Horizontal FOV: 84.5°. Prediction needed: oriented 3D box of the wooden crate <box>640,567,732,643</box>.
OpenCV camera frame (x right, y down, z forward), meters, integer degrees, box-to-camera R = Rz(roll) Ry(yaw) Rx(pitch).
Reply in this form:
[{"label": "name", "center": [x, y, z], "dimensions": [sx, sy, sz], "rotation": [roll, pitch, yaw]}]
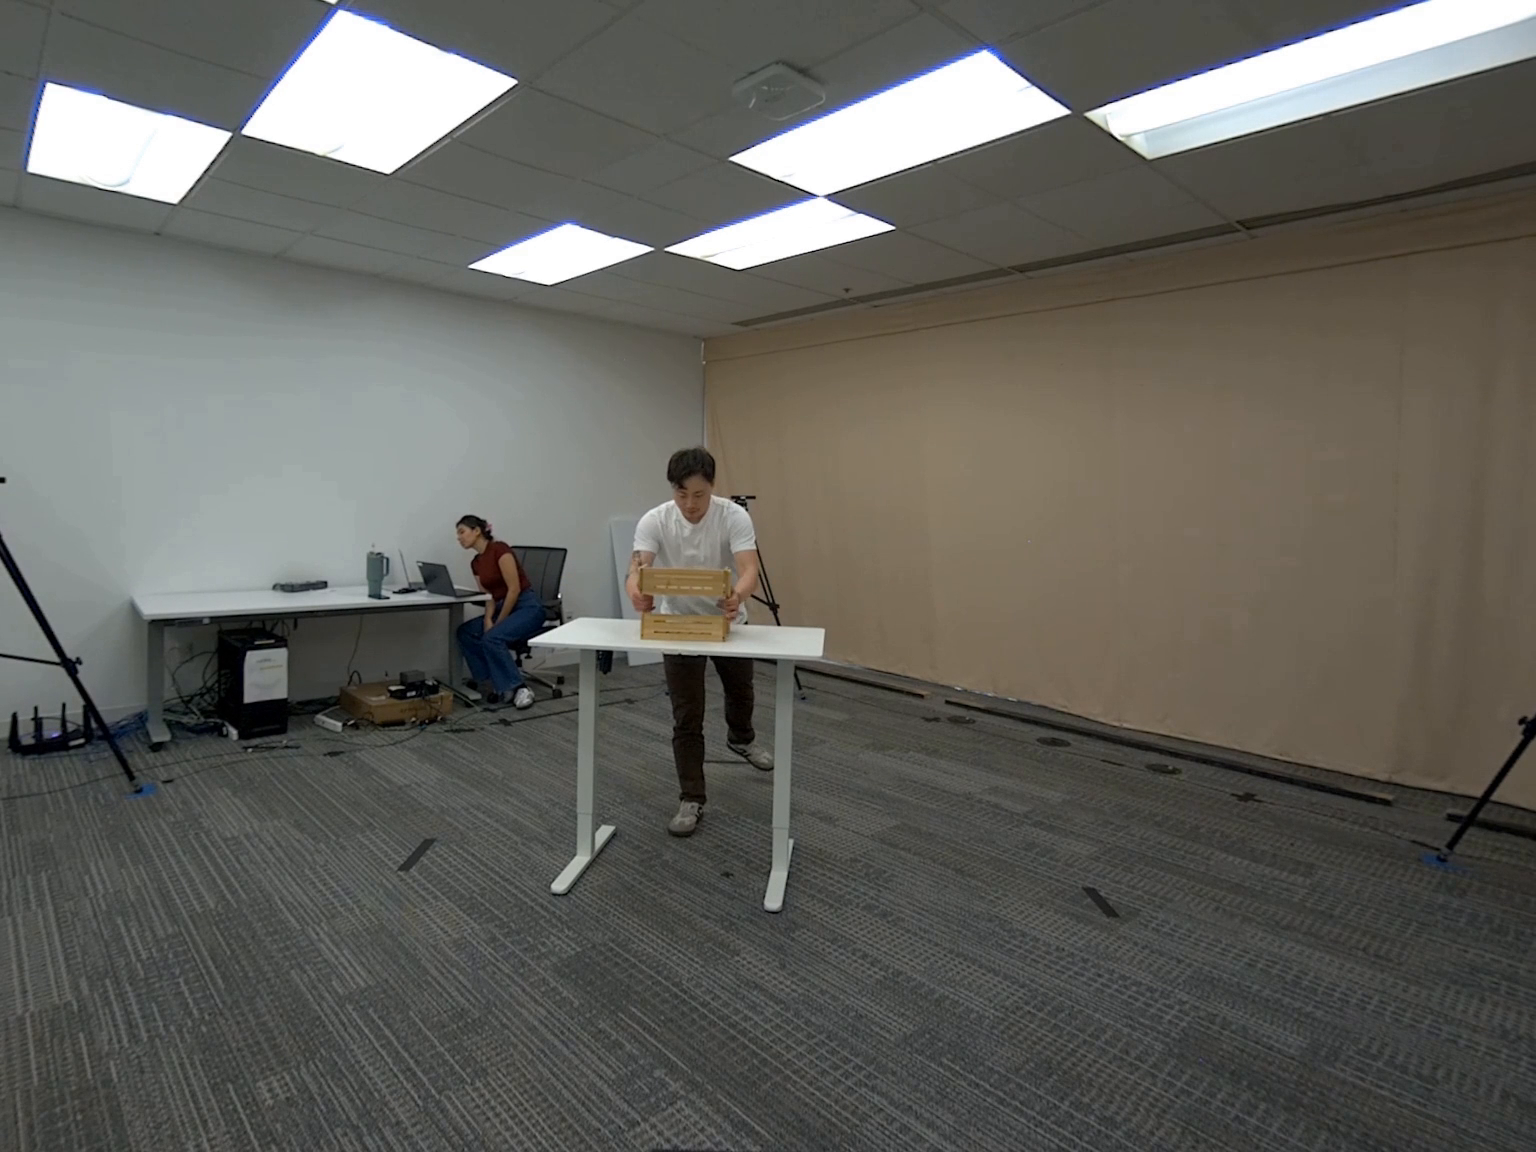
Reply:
[{"label": "wooden crate", "center": [-0.314, 0.091, 3.066], "dimensions": [0.325, 0.272, 0.303], "rotation": [1, 6, 1]}]
